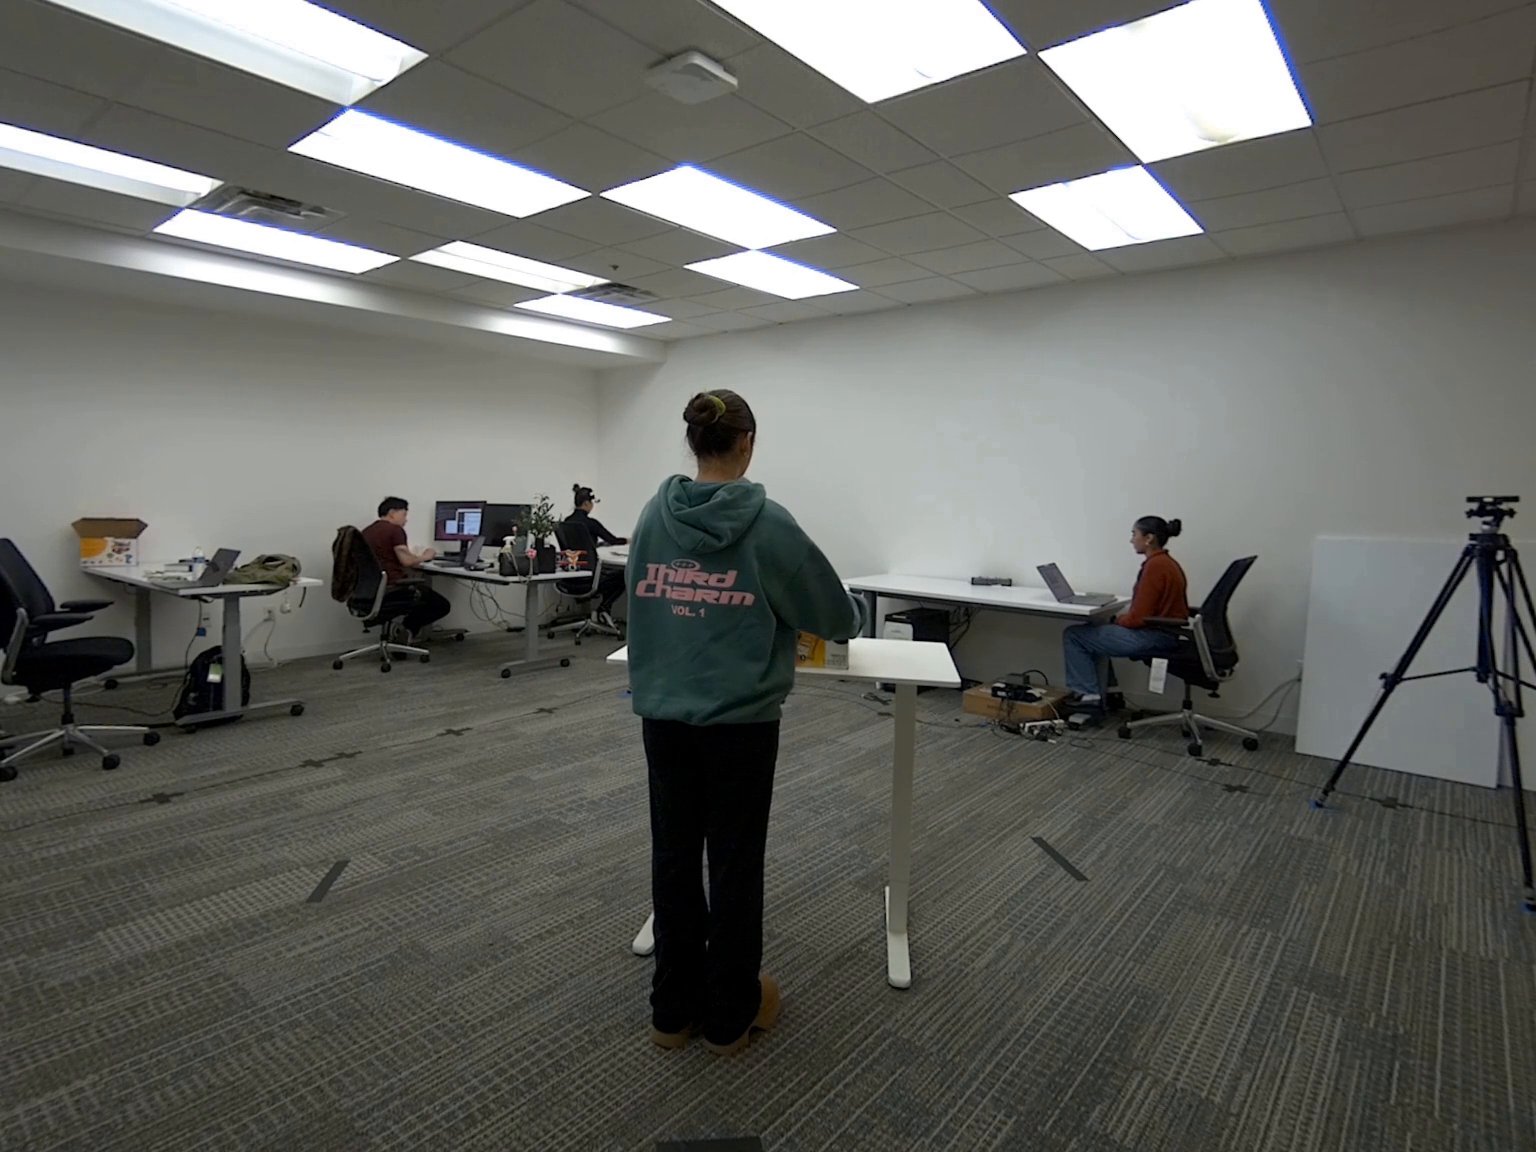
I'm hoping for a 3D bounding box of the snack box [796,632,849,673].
[{"bbox_3d":[0.032,0.136,2.595,0.409,0.205,0.339,2,6,8],"label":"snack box"}]
